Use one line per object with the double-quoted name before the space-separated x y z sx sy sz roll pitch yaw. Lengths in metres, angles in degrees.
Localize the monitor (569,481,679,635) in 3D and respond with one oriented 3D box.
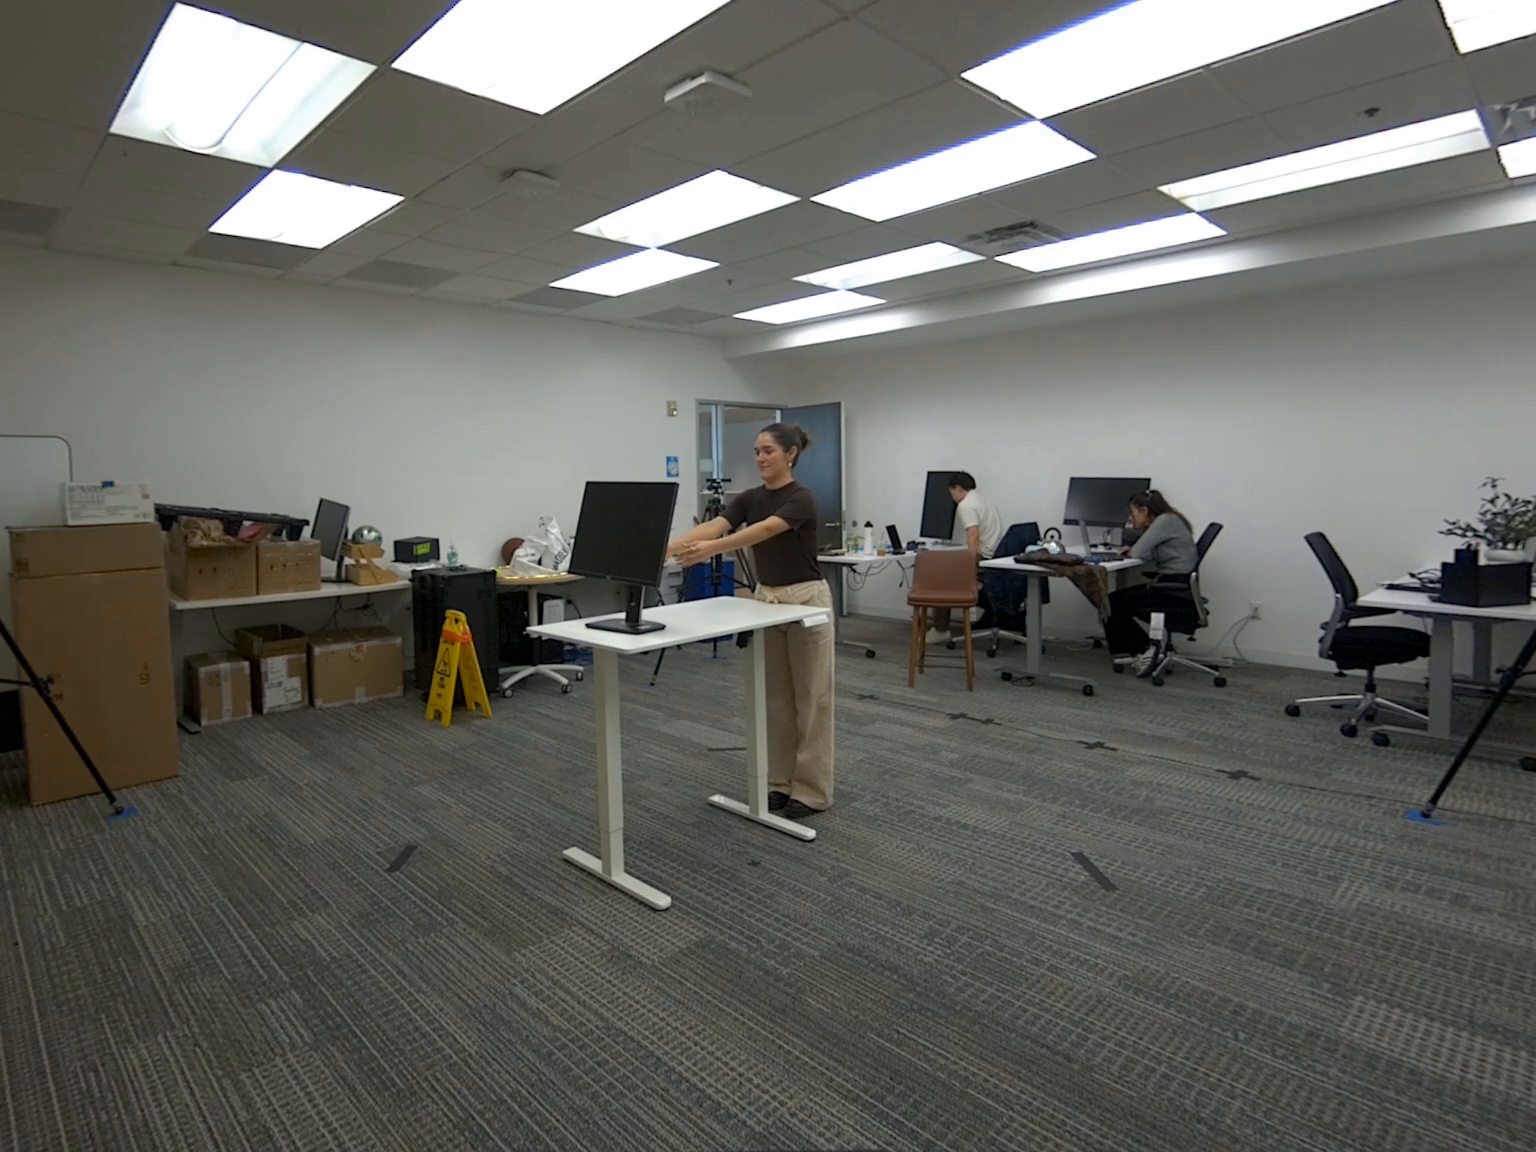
"monitor" -0.496 -0.068 2.998 0.556 0.521 0.182 5 4 44
